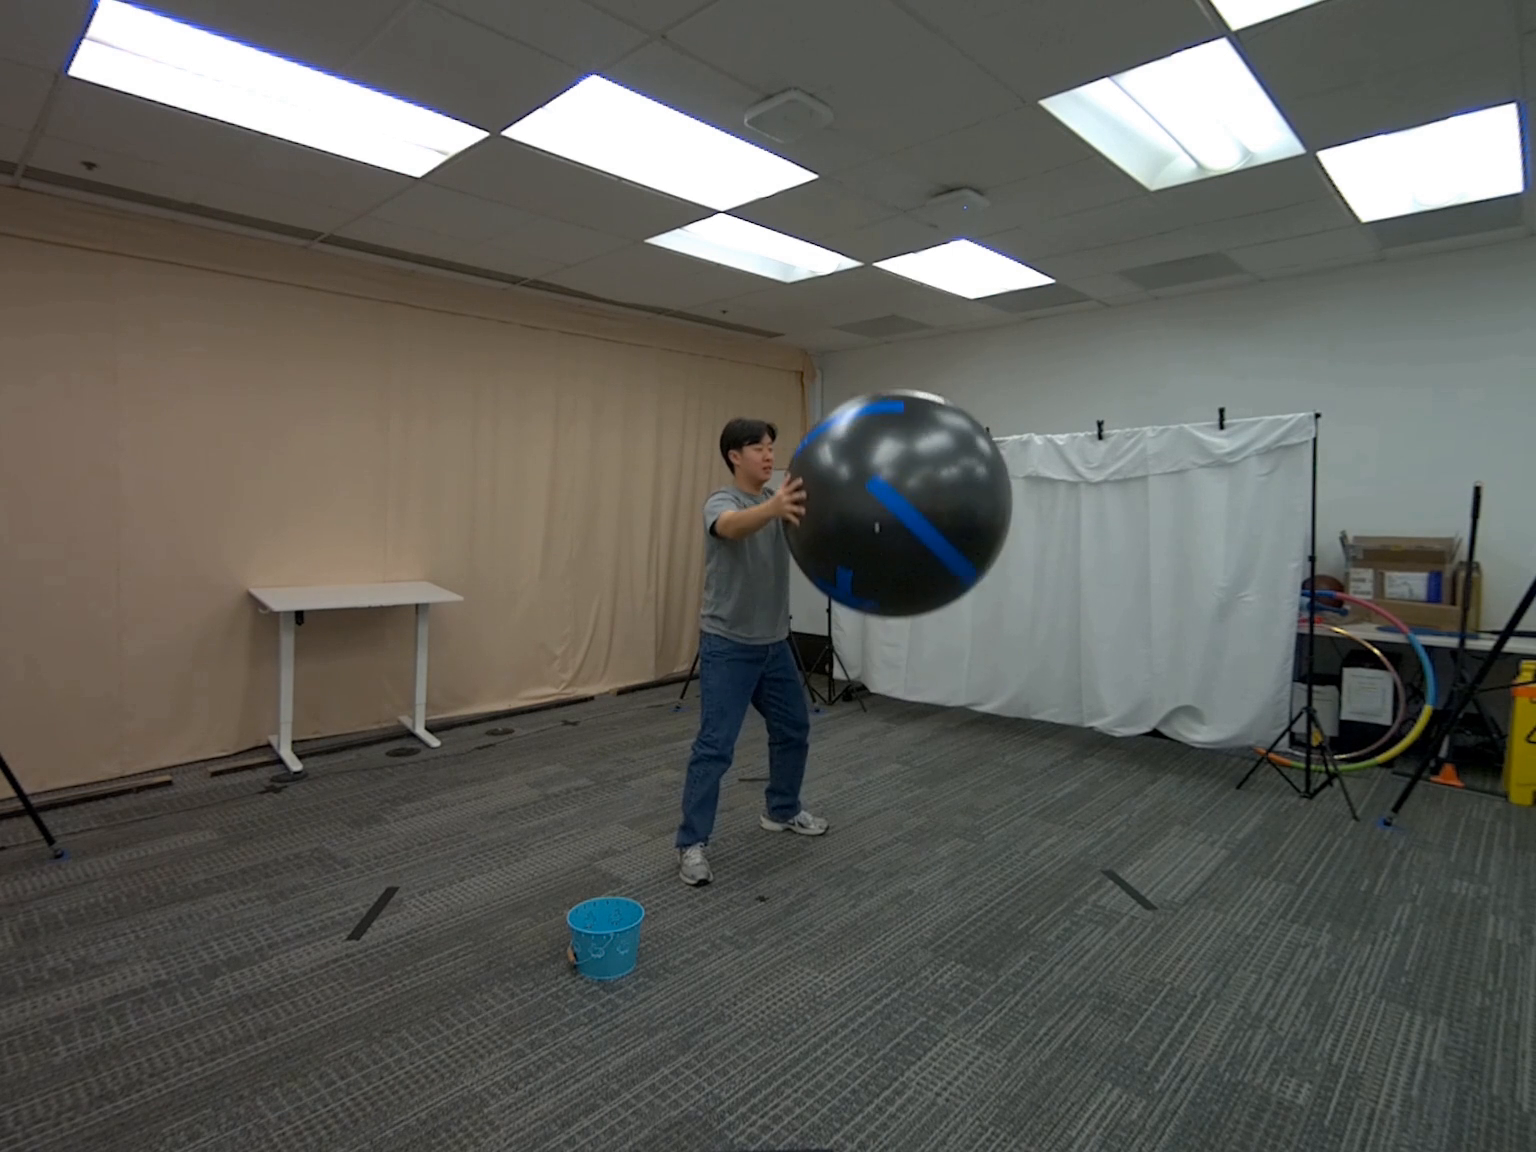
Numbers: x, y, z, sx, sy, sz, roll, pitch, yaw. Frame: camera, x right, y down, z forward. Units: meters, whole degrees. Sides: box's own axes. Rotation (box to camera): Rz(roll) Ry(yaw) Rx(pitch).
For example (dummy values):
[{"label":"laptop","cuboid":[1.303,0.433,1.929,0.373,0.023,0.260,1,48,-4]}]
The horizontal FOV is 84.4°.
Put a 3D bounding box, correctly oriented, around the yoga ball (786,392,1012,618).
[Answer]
[{"label":"yoga ball","cuboid":[0.412,-0.223,2.857,0.757,0.756,0.760,0,4,-2]}]
